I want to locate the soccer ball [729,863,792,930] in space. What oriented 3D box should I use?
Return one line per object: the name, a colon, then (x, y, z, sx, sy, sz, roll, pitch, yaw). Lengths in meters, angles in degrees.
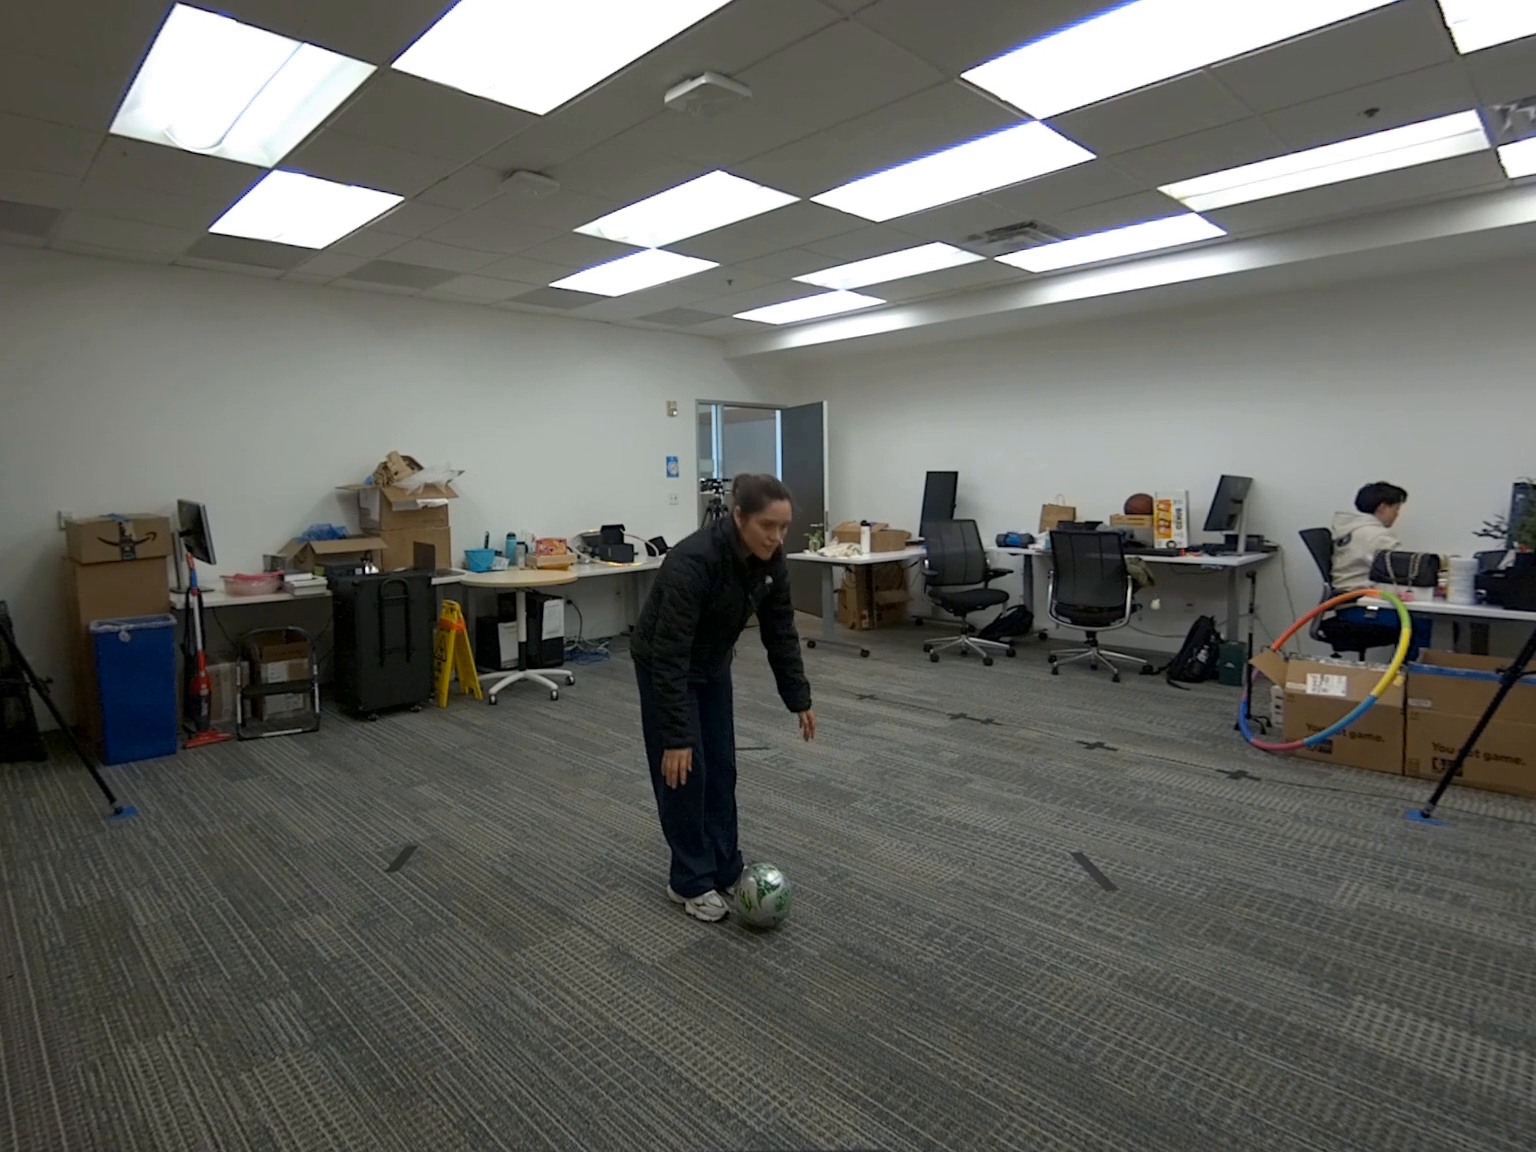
soccer ball: (-0.008, 1.003, 2.674, 0.187, 0.187, 0.188, -1, 5, -2)
